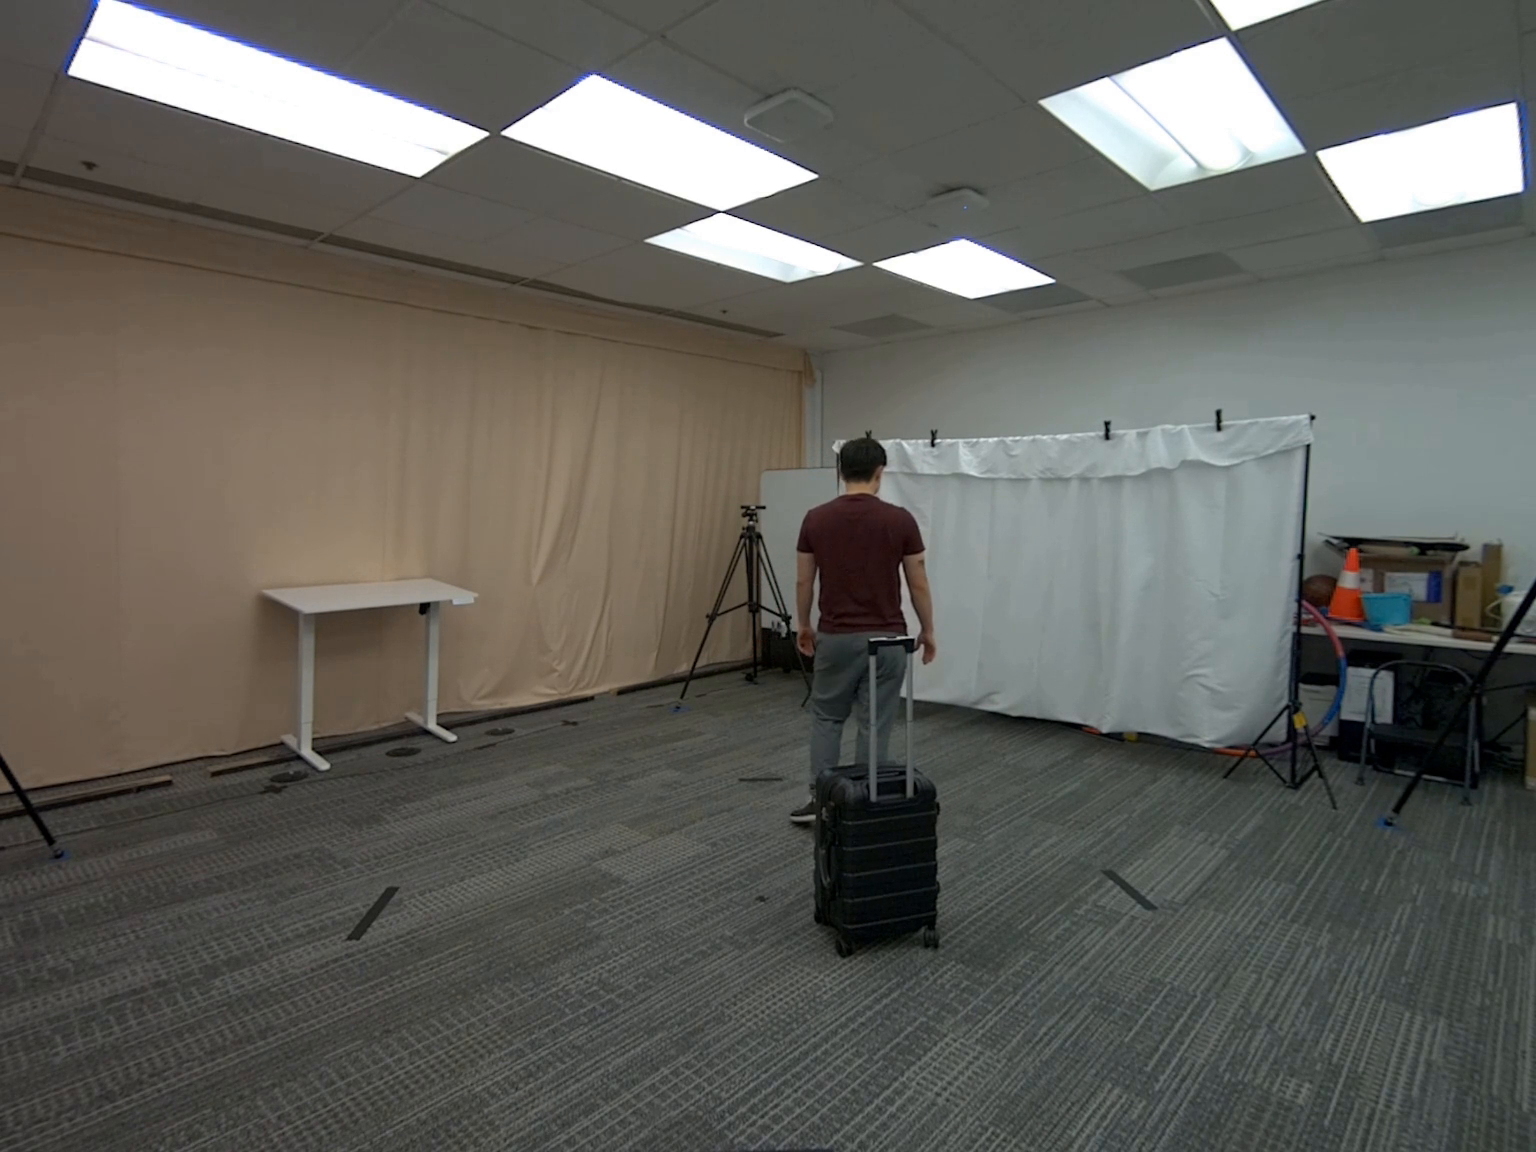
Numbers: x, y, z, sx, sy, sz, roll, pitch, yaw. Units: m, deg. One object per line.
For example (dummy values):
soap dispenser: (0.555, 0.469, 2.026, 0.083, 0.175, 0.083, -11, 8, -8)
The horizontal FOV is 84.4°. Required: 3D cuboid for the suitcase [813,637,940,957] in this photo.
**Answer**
suitcase: (0.344, 0.689, 2.711, 0.378, 0.977, 0.261, -1, 3, -14)
